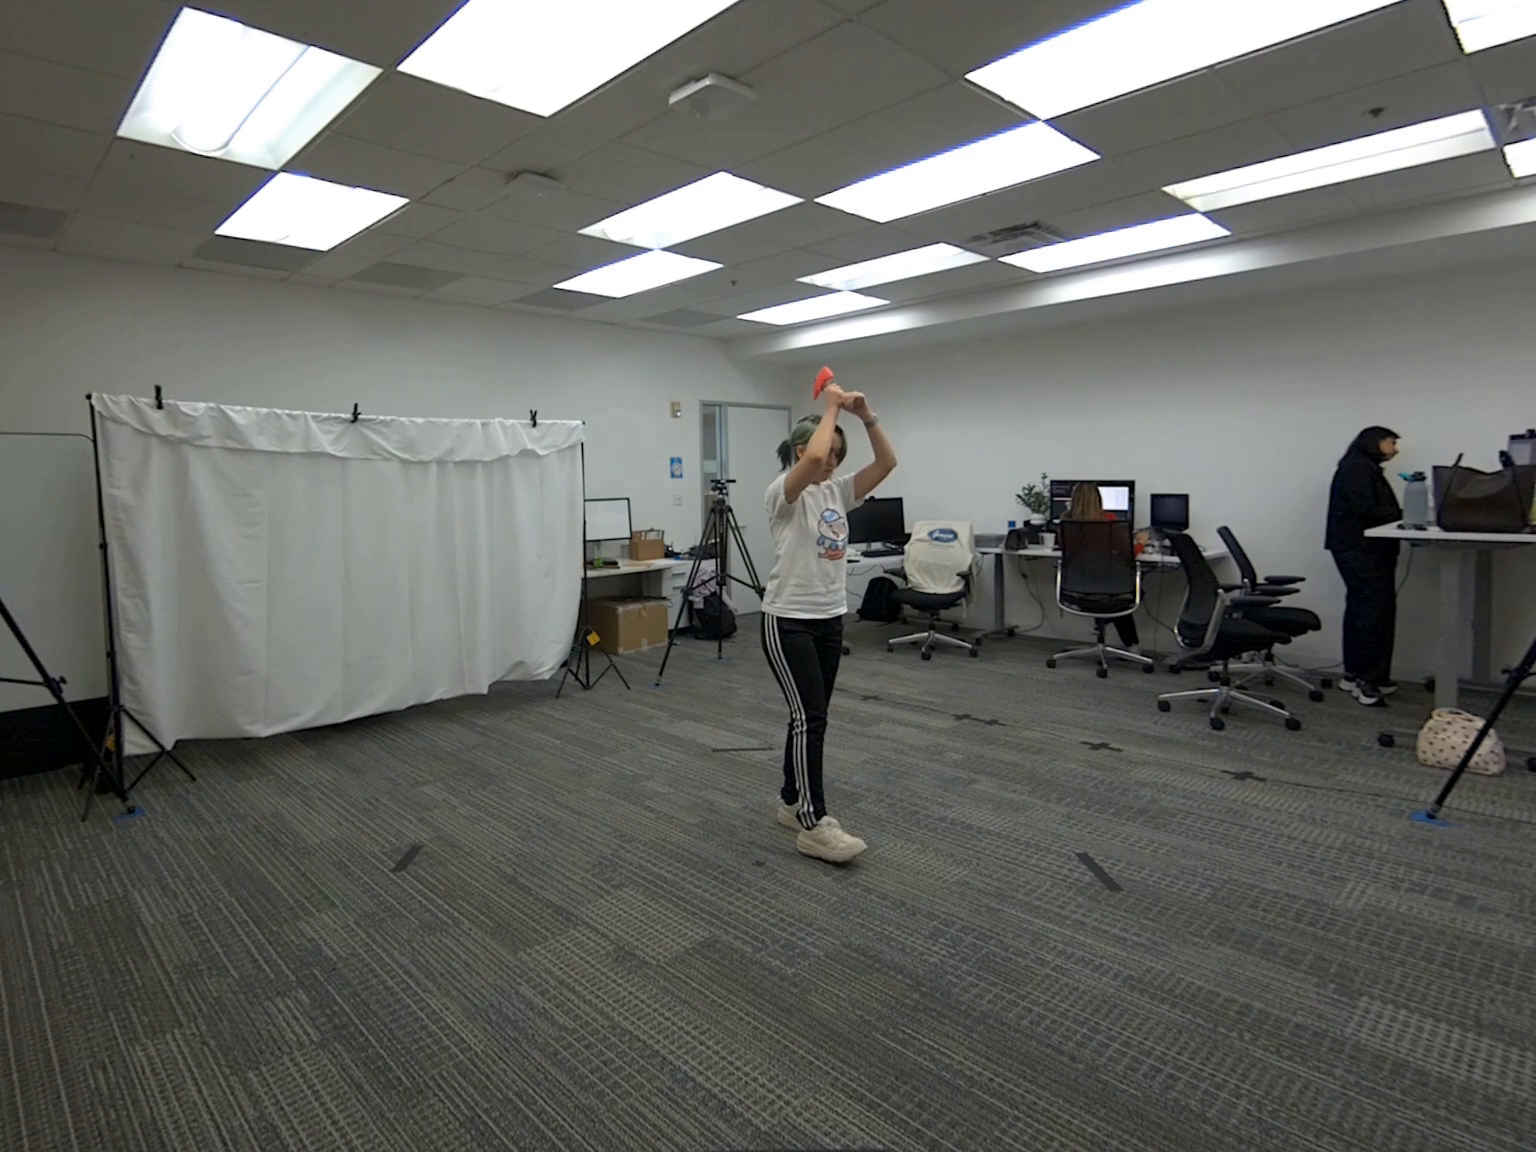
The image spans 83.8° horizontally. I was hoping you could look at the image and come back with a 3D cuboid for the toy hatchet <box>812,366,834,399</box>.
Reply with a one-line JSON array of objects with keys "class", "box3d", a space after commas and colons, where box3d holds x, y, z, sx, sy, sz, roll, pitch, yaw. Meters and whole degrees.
[{"class": "toy hatchet", "box3d": [0.267, -0.702, 3.148, 0.029, 0.130, 0.280, -3, 17, -38]}]
